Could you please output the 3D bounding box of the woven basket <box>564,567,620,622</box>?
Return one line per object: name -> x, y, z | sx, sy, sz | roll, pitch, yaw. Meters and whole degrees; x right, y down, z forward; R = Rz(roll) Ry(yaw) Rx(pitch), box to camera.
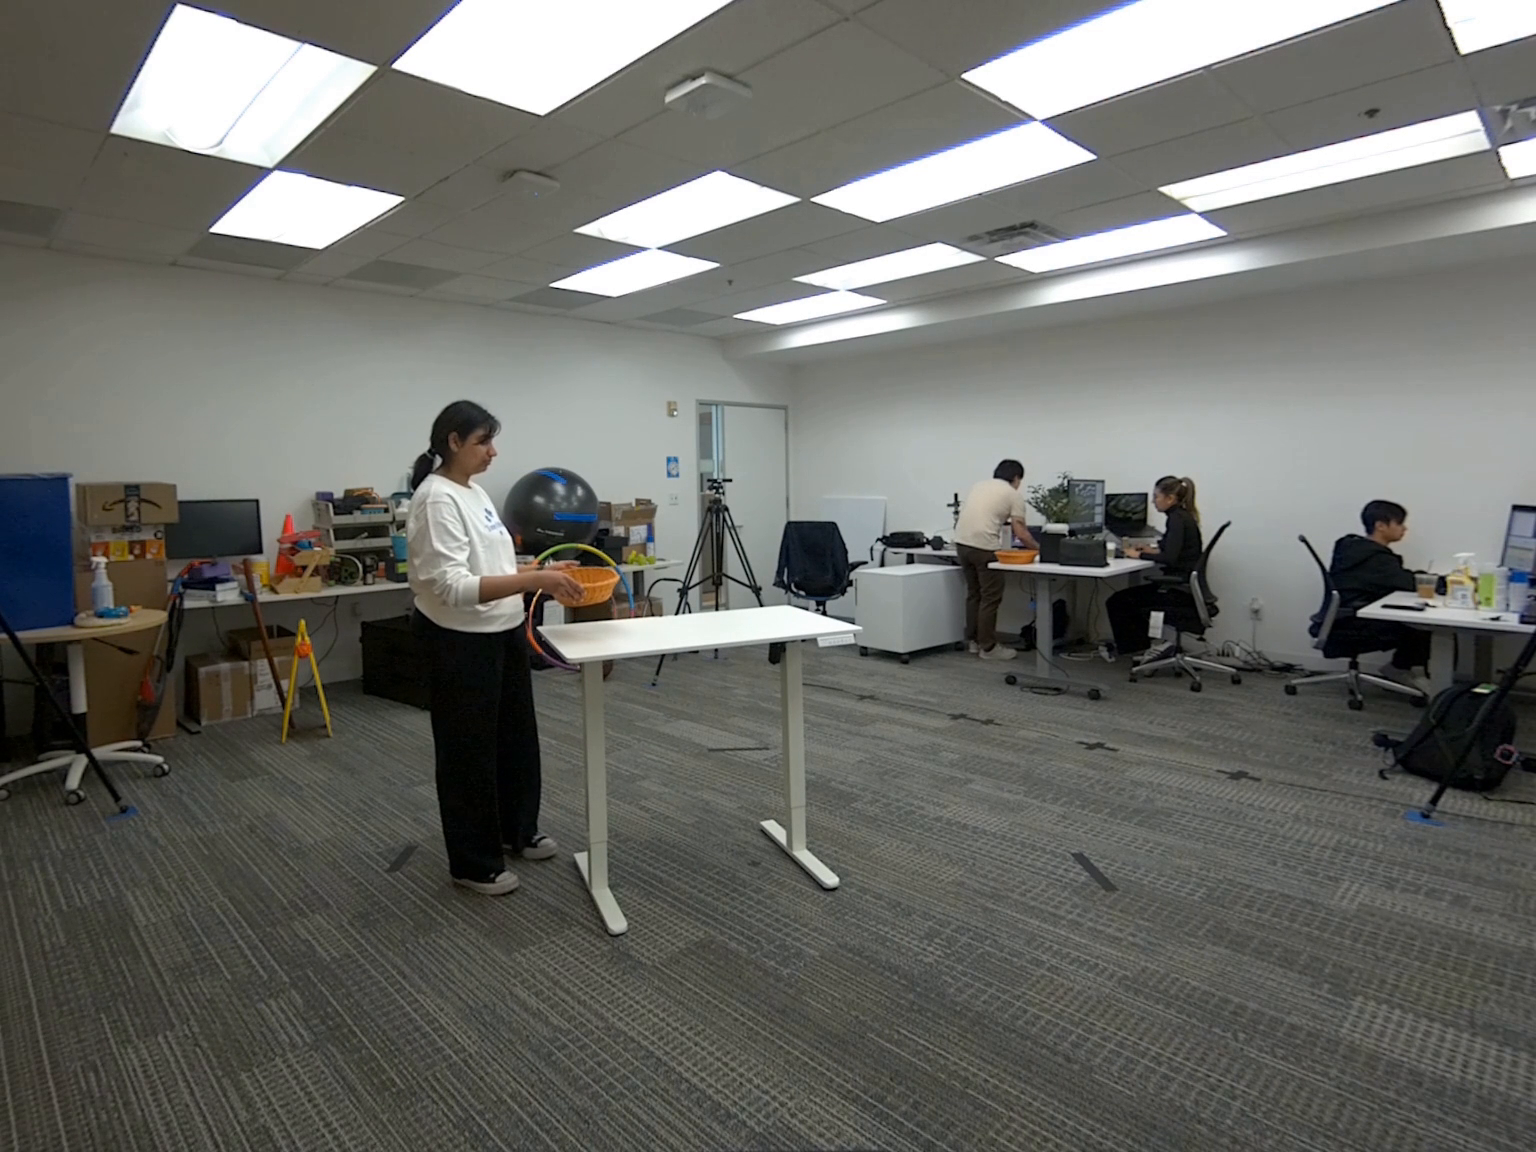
woven basket -> -0.666, 0.040, 2.926 | 0.248, 0.073, 0.360 | -7, 12, -22
